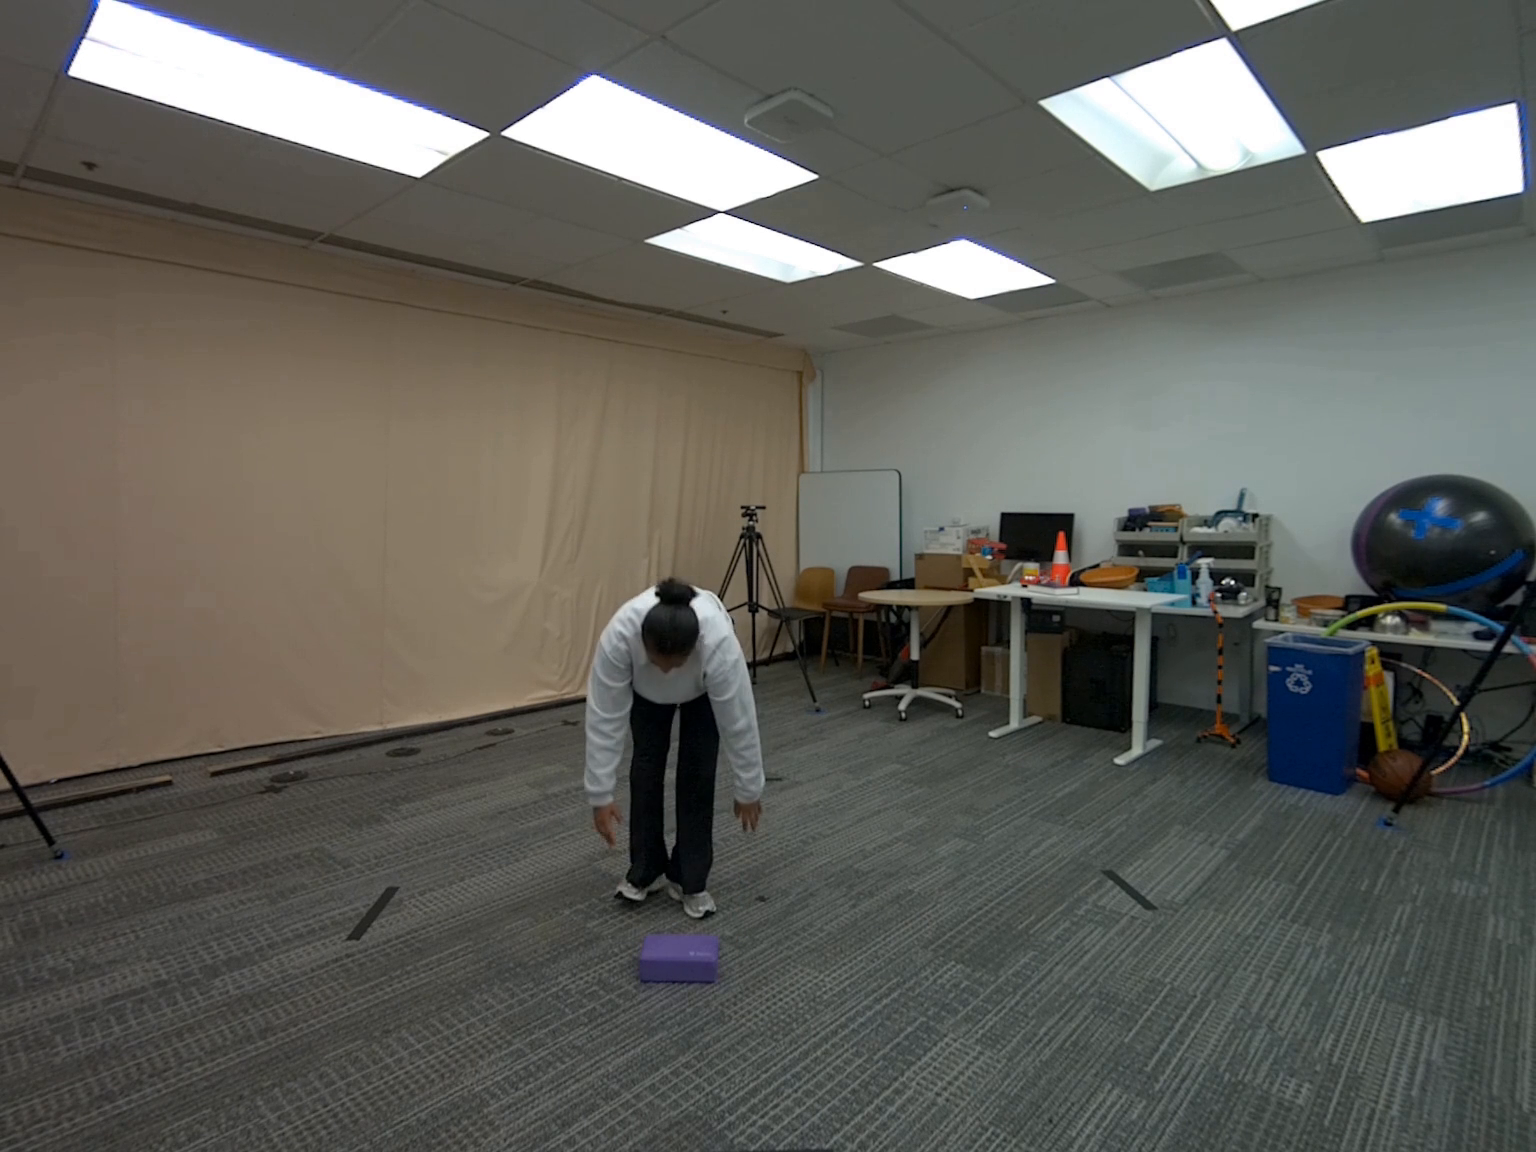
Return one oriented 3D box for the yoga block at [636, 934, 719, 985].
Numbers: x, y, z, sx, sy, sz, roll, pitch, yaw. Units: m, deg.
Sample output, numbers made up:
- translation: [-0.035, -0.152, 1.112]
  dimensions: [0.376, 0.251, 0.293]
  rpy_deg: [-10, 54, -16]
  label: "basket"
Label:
- translation: [-0.263, 1.140, 2.526]
  dimensions: [0.230, 0.076, 0.149]
  rpy_deg: [0, 3, 1]
  label: "yoga block"
